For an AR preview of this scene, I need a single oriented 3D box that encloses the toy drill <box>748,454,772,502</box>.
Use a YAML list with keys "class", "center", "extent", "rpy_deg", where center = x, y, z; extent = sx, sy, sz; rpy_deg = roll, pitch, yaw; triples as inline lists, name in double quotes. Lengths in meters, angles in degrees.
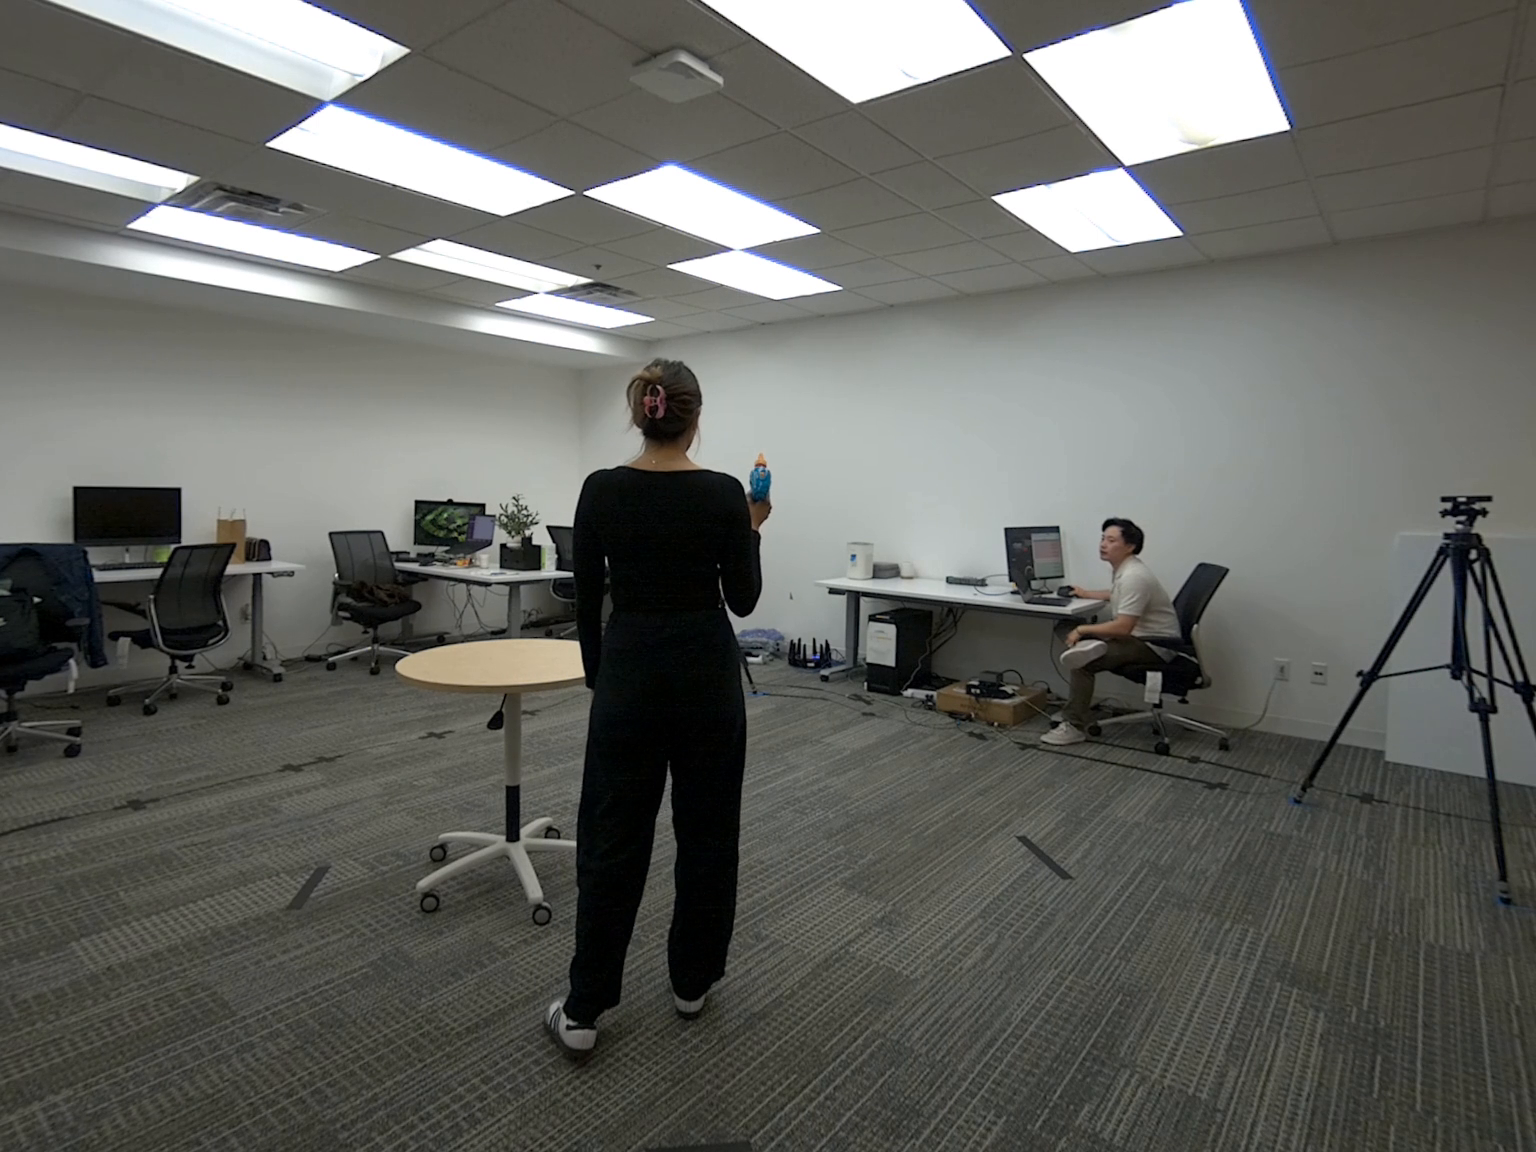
- class: "toy drill"
  center: [-0.040, -0.262, 2.416]
  extent: [0.061, 0.174, 0.143]
  rpy_deg: [5, -37, -8]
